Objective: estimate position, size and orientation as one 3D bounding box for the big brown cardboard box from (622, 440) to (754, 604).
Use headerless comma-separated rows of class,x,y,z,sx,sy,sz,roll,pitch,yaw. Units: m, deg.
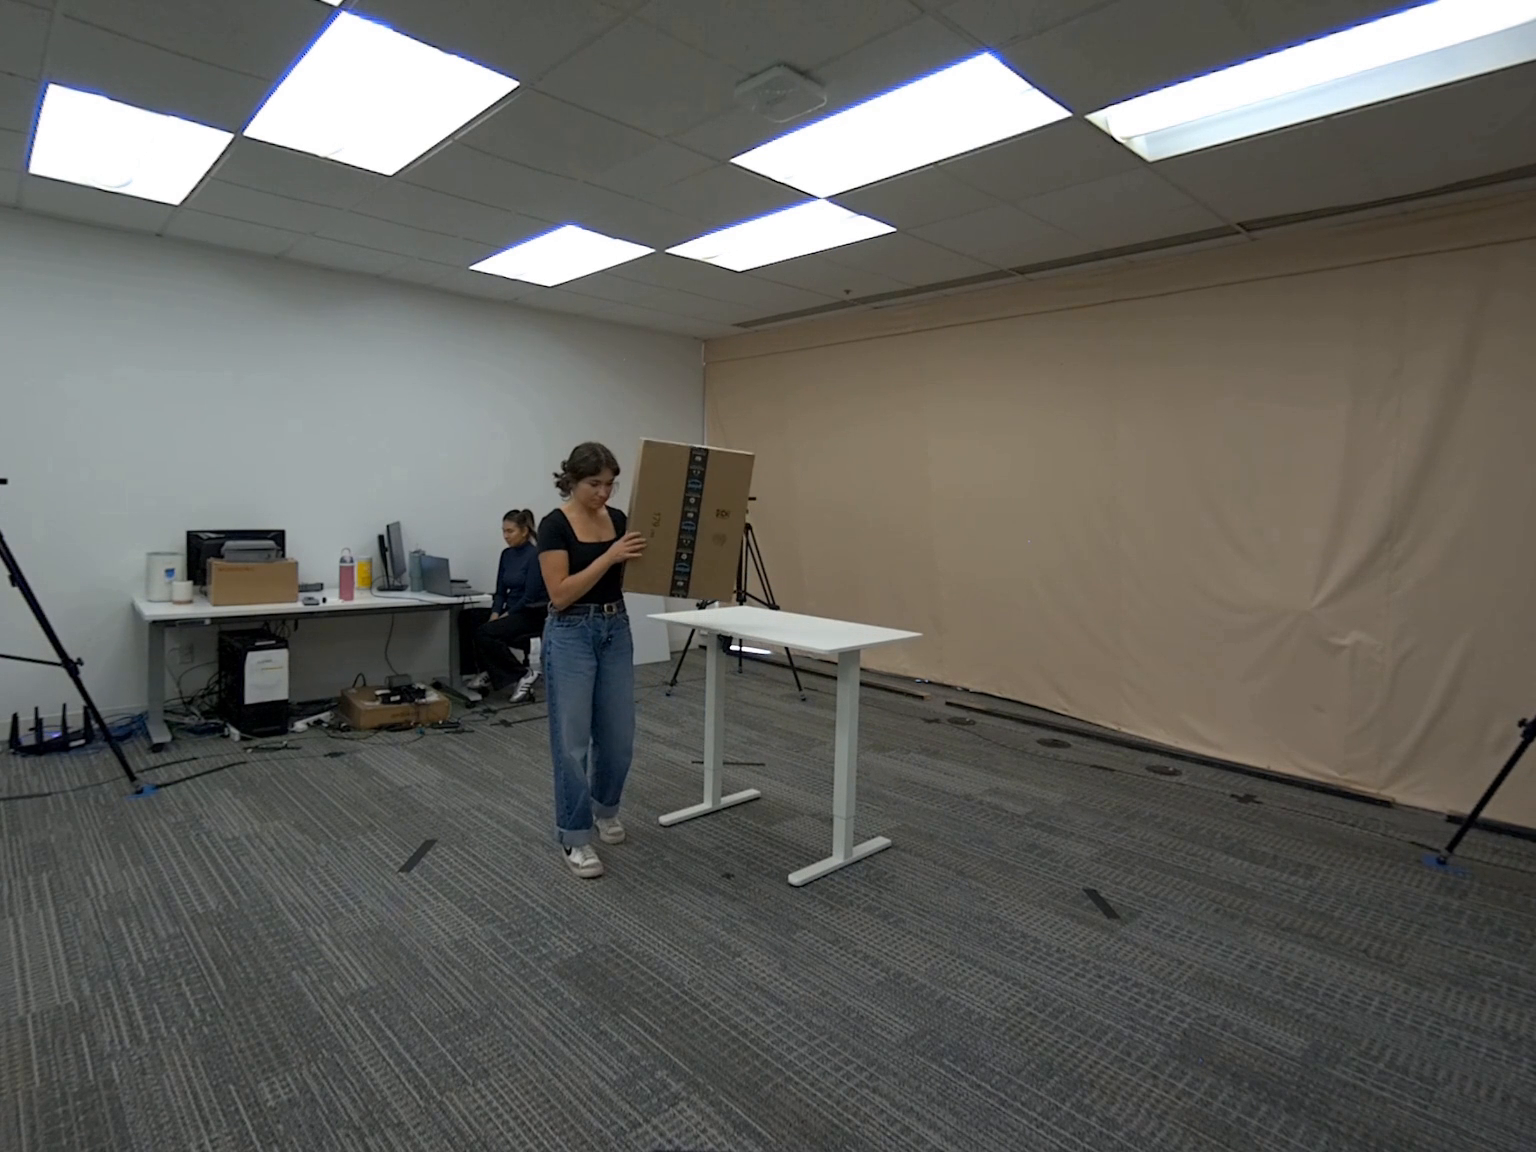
big brown cardboard box,-0.319,-0.209,3.178,0.413,0.586,0.237,8,8,-12
